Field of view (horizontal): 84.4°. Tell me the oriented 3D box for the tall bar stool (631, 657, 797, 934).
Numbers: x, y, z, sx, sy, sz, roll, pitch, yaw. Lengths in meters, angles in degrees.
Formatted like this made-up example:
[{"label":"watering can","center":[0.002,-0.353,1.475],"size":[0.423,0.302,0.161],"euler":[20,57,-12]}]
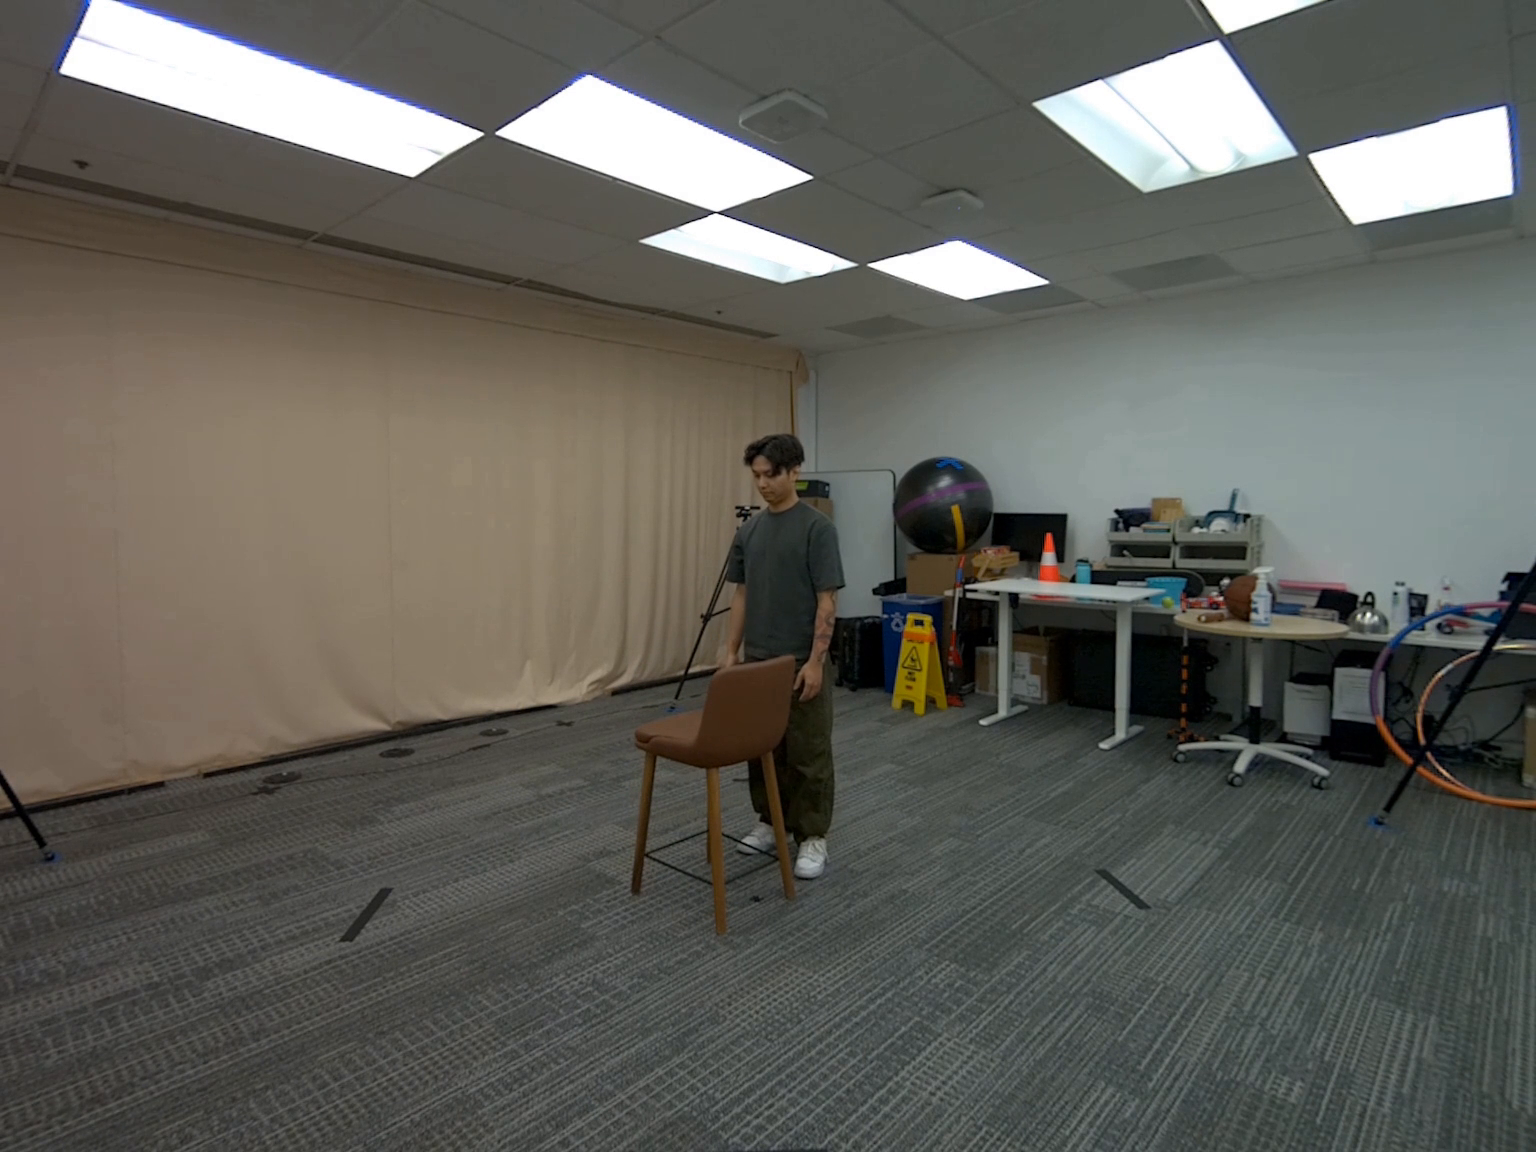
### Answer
[{"label":"tall bar stool","center":[-0.195,0.710,2.987],"size":[0.483,0.887,0.442],"euler":[5,7,44]}]
